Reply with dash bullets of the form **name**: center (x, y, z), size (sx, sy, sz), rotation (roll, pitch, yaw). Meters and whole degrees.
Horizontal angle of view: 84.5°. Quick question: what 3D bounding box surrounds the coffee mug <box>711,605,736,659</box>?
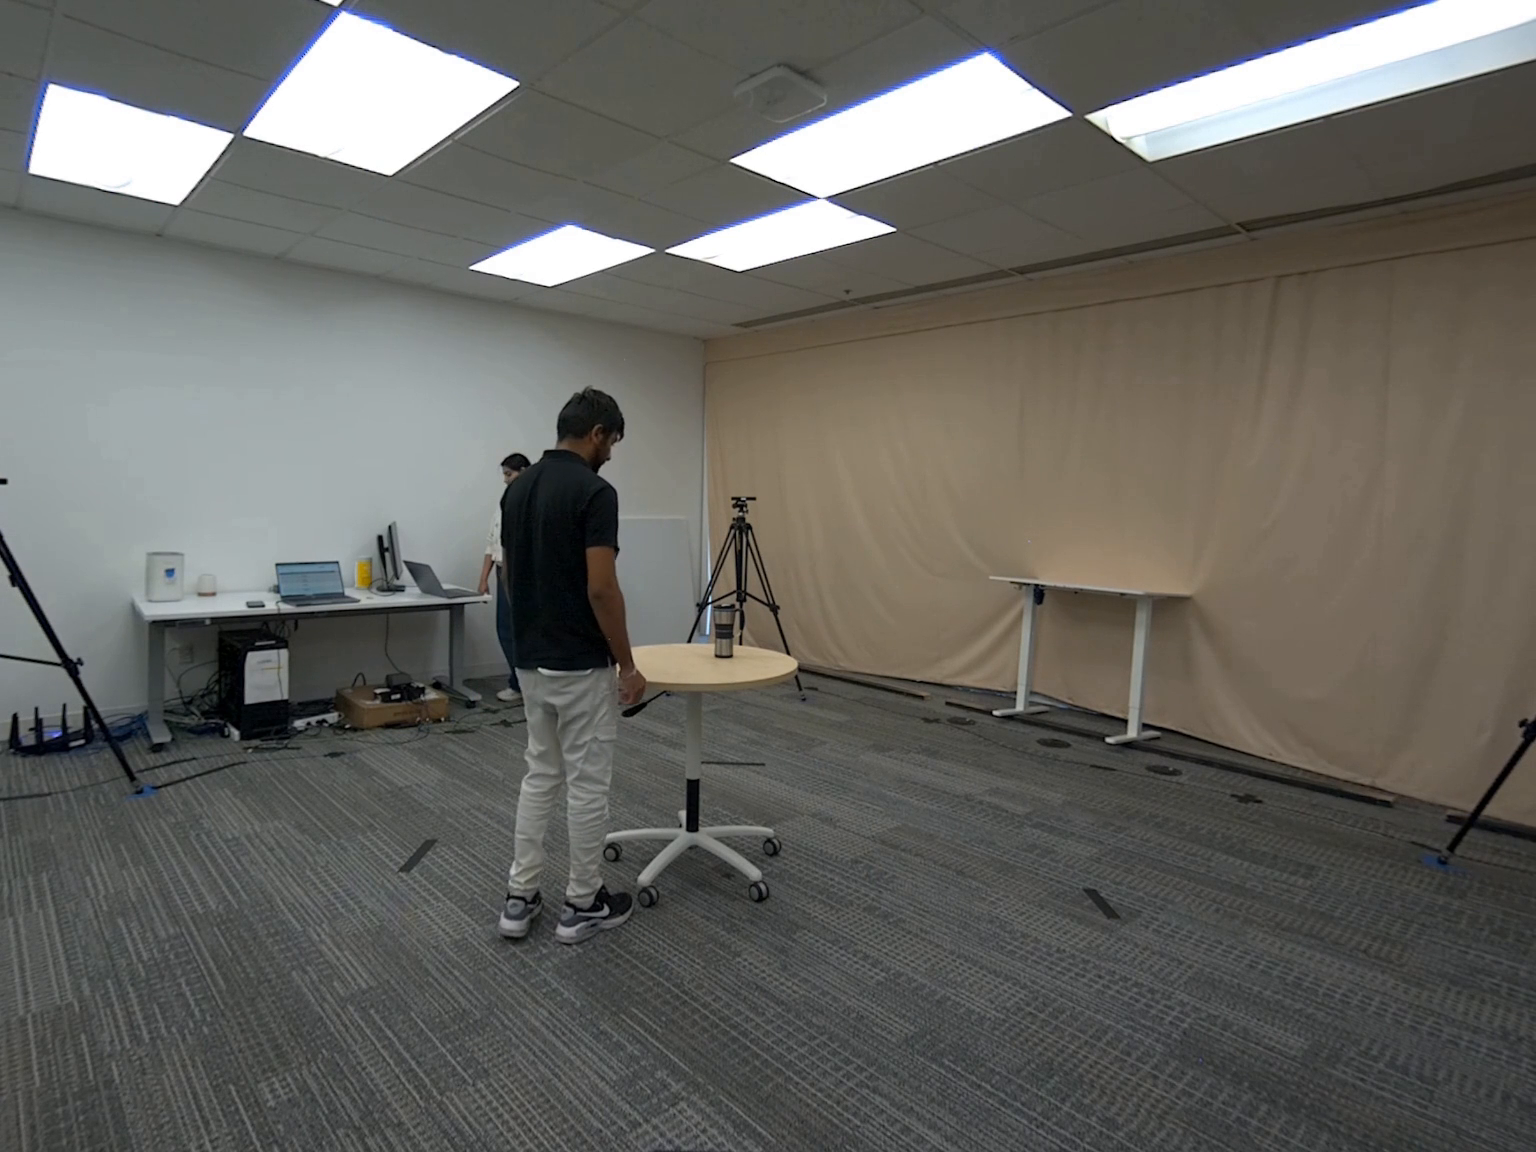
- **coffee mug**: center (-0.185, 0.216, 3.221), size (0.119, 0.203, 0.090), rotation (4, 2, -31)
